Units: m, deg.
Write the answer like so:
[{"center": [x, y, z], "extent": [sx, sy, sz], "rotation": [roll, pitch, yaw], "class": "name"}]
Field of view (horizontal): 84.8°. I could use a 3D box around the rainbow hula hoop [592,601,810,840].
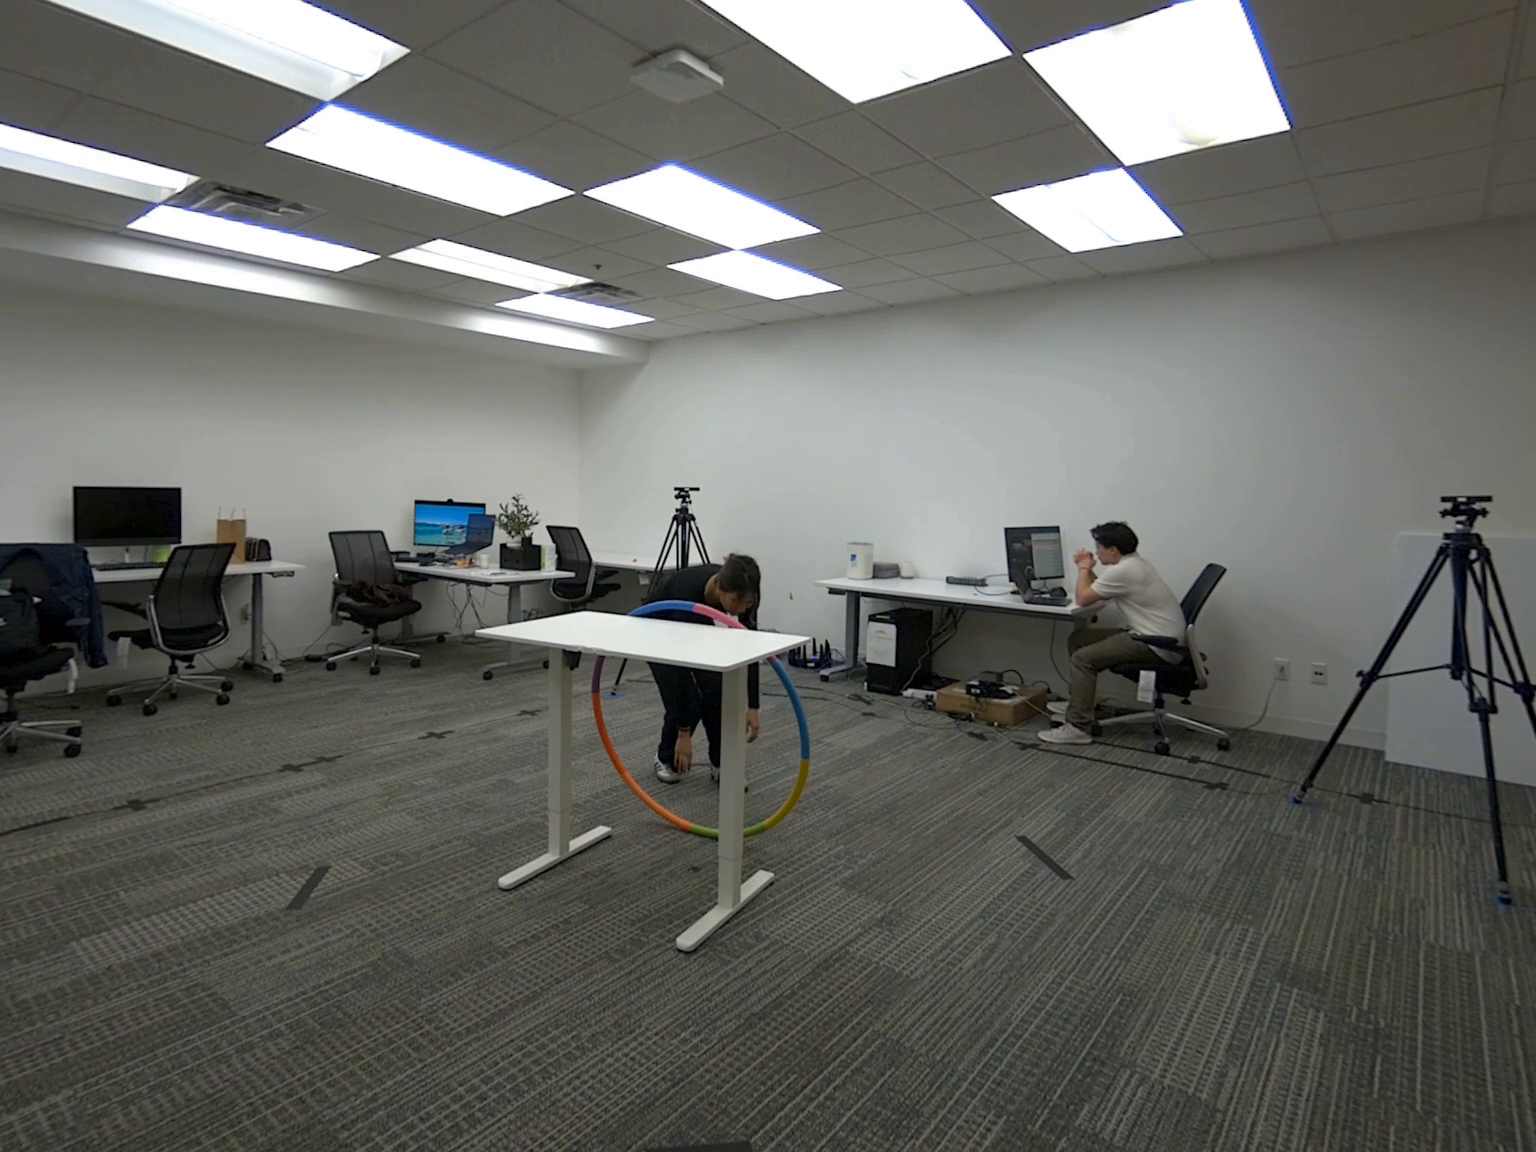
[{"center": [-0.299, 0.563, 3.313], "extent": [1.007, 0.966, 0.035], "rotation": [3, 15, 30], "class": "rainbow hula hoop"}]
